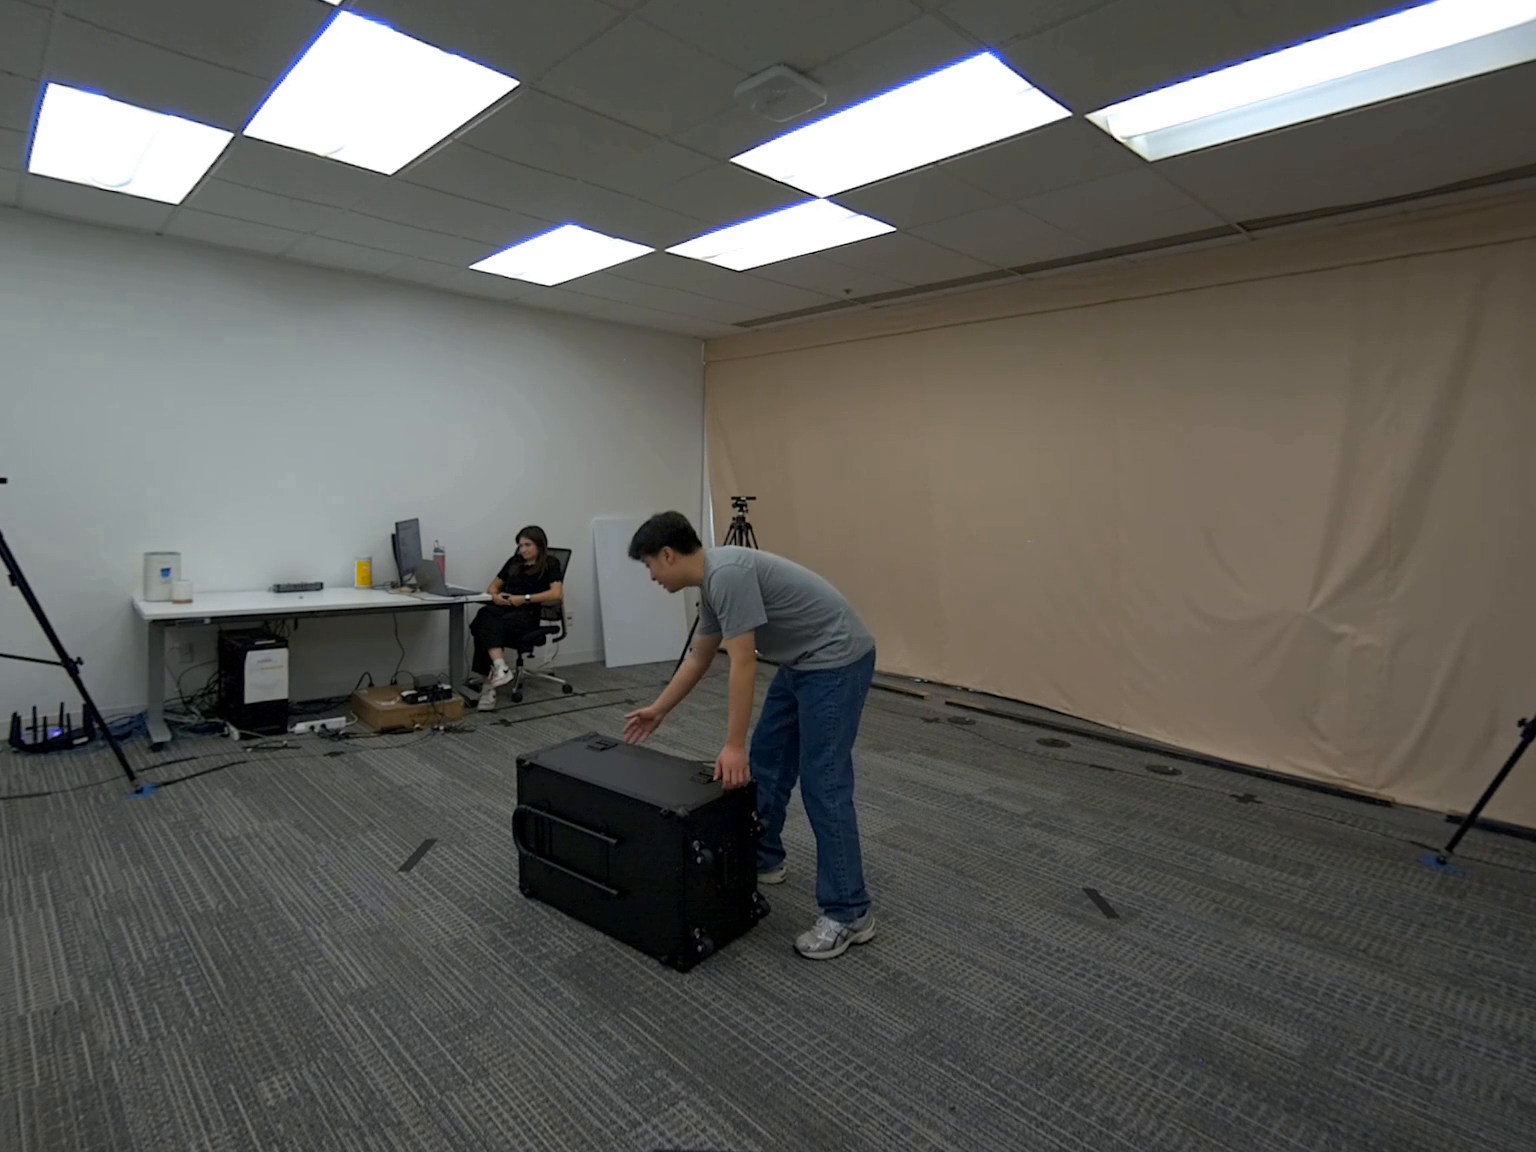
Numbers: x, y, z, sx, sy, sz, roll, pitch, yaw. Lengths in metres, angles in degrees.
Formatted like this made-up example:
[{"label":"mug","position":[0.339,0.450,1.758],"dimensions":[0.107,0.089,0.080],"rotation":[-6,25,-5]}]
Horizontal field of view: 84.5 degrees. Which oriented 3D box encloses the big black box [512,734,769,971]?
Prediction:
[{"label":"big black box","position":[-0.442,0.874,2.772],"dimensions":[0.883,0.519,0.388],"rotation":[5,7,37]}]
